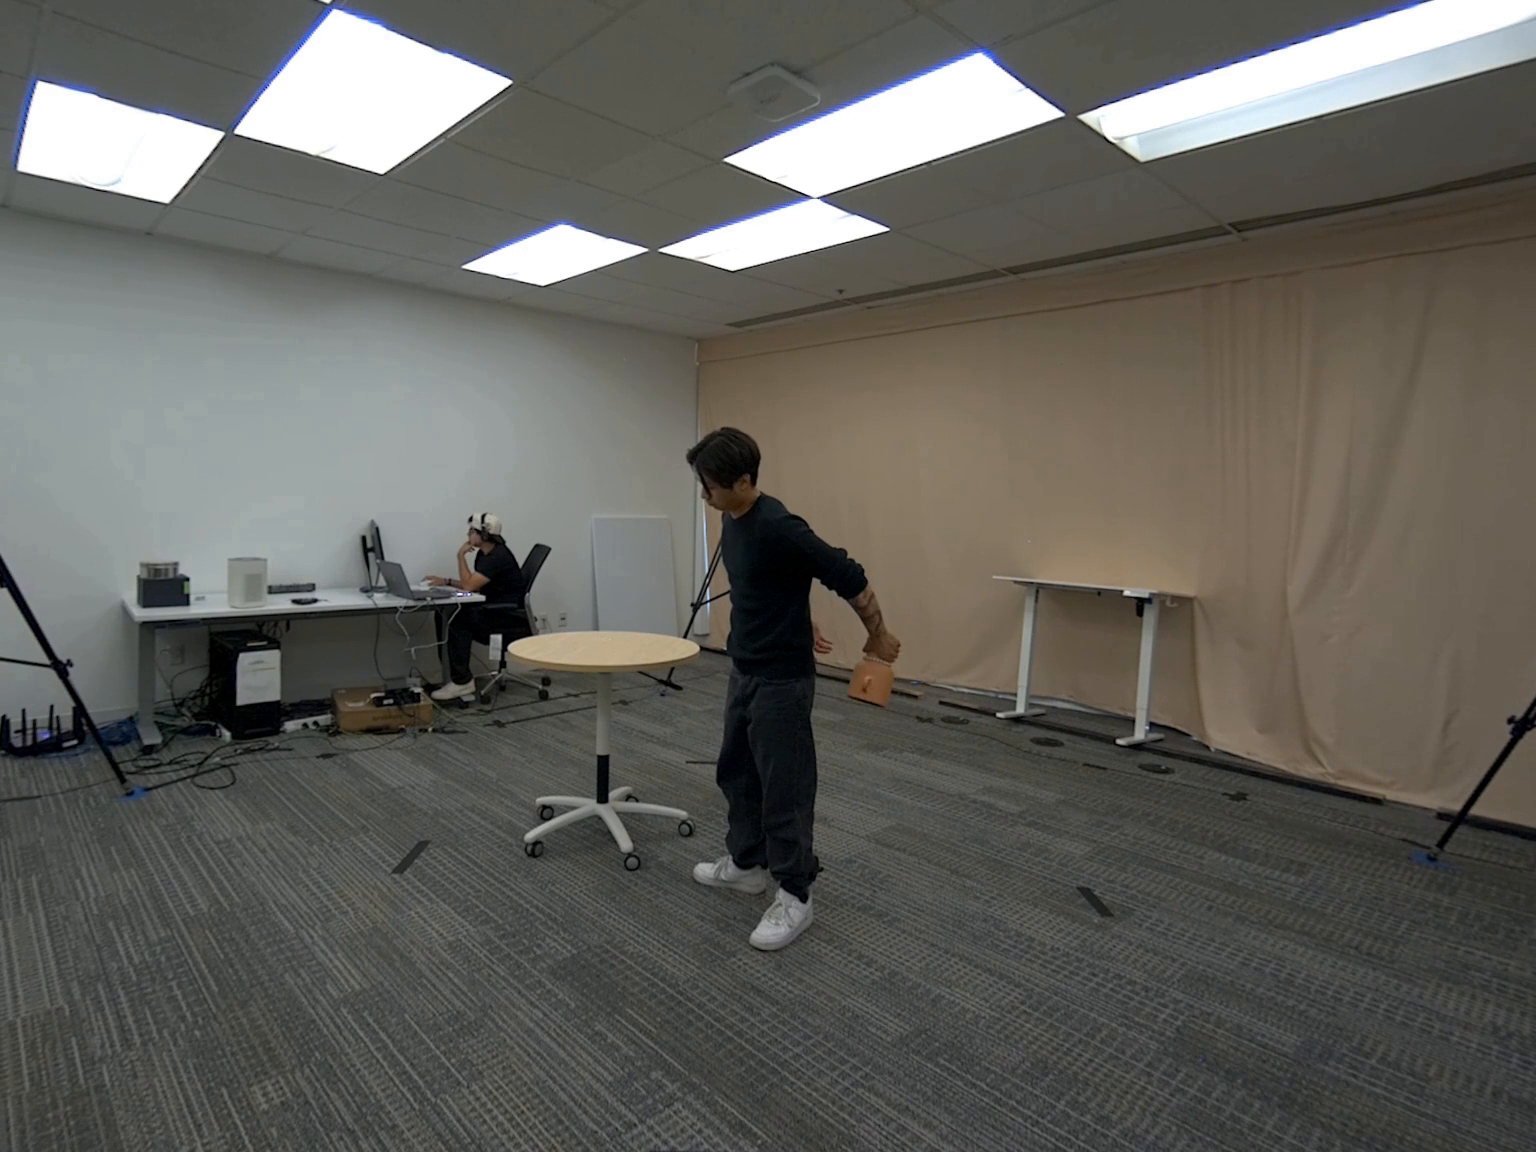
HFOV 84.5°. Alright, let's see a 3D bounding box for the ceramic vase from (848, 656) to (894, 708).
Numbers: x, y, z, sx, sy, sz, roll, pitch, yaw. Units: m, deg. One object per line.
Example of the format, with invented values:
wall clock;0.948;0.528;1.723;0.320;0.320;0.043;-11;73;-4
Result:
ceramic vase;0.332;0.290;2.740;0.132;0.220;0.161;18;-5;-17
